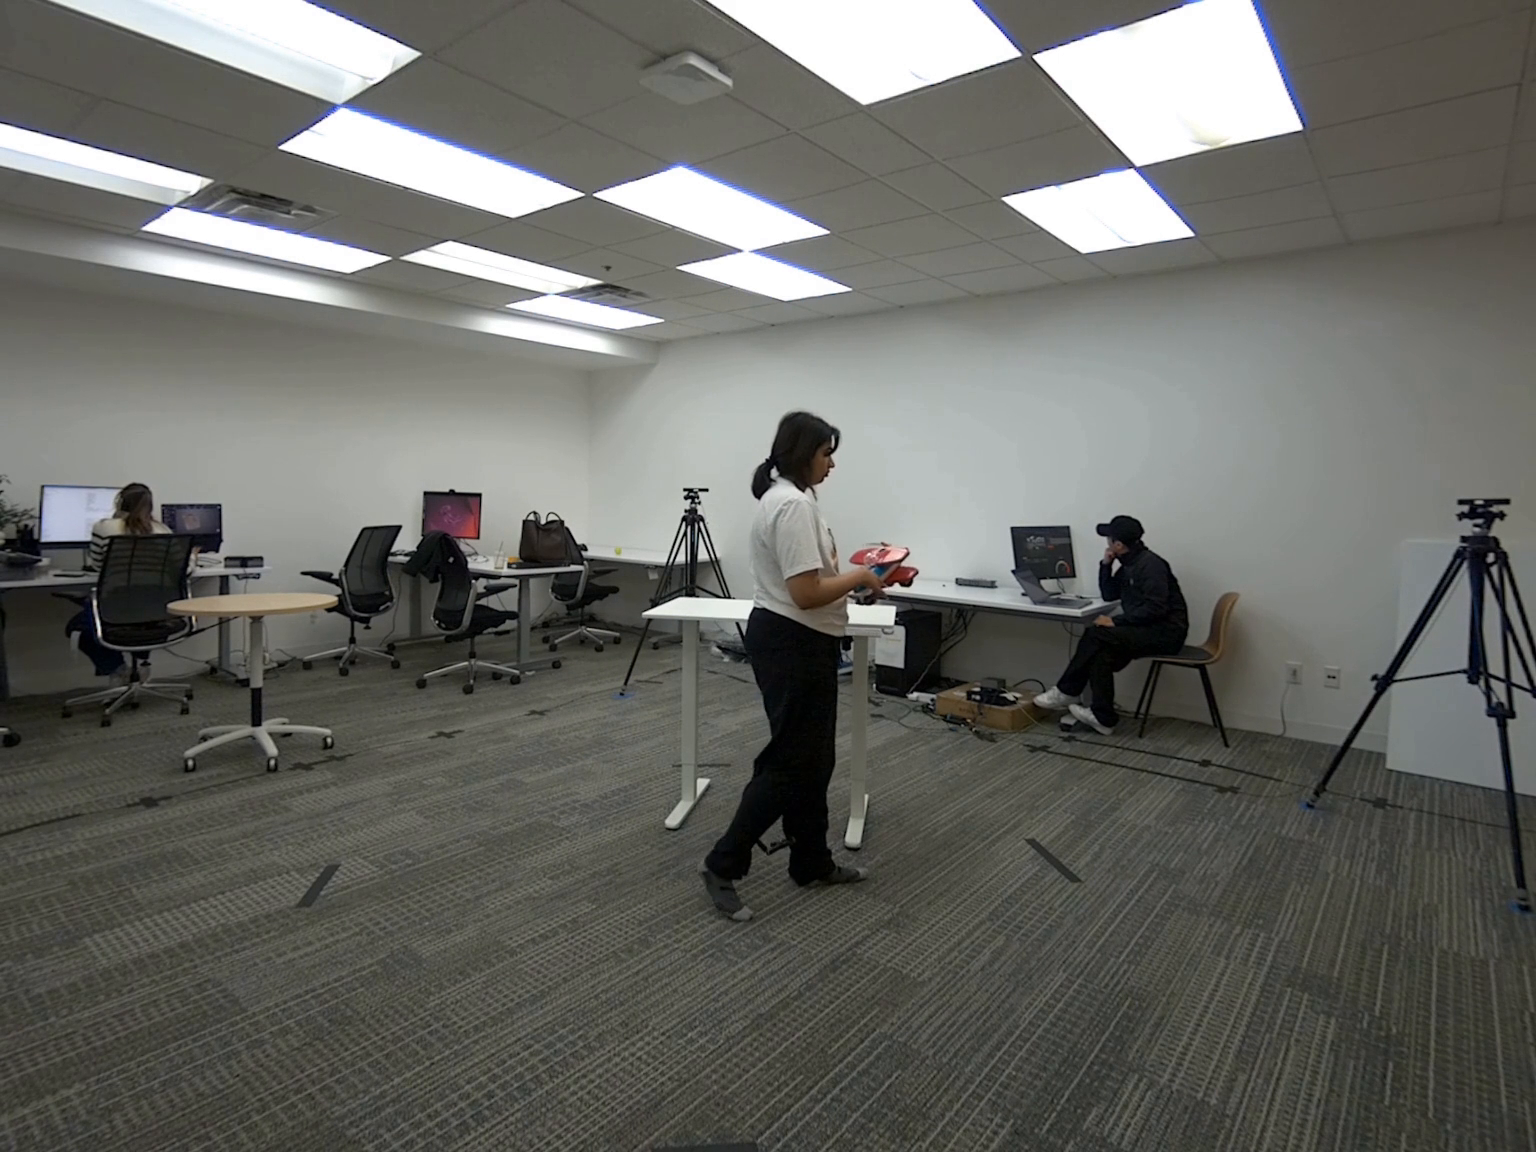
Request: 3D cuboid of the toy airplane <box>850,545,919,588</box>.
[{"bbox_3d":[0.389,0.000,2.964,0.256,0.154,0.258,-11,15,24],"label":"toy airplane"}]
